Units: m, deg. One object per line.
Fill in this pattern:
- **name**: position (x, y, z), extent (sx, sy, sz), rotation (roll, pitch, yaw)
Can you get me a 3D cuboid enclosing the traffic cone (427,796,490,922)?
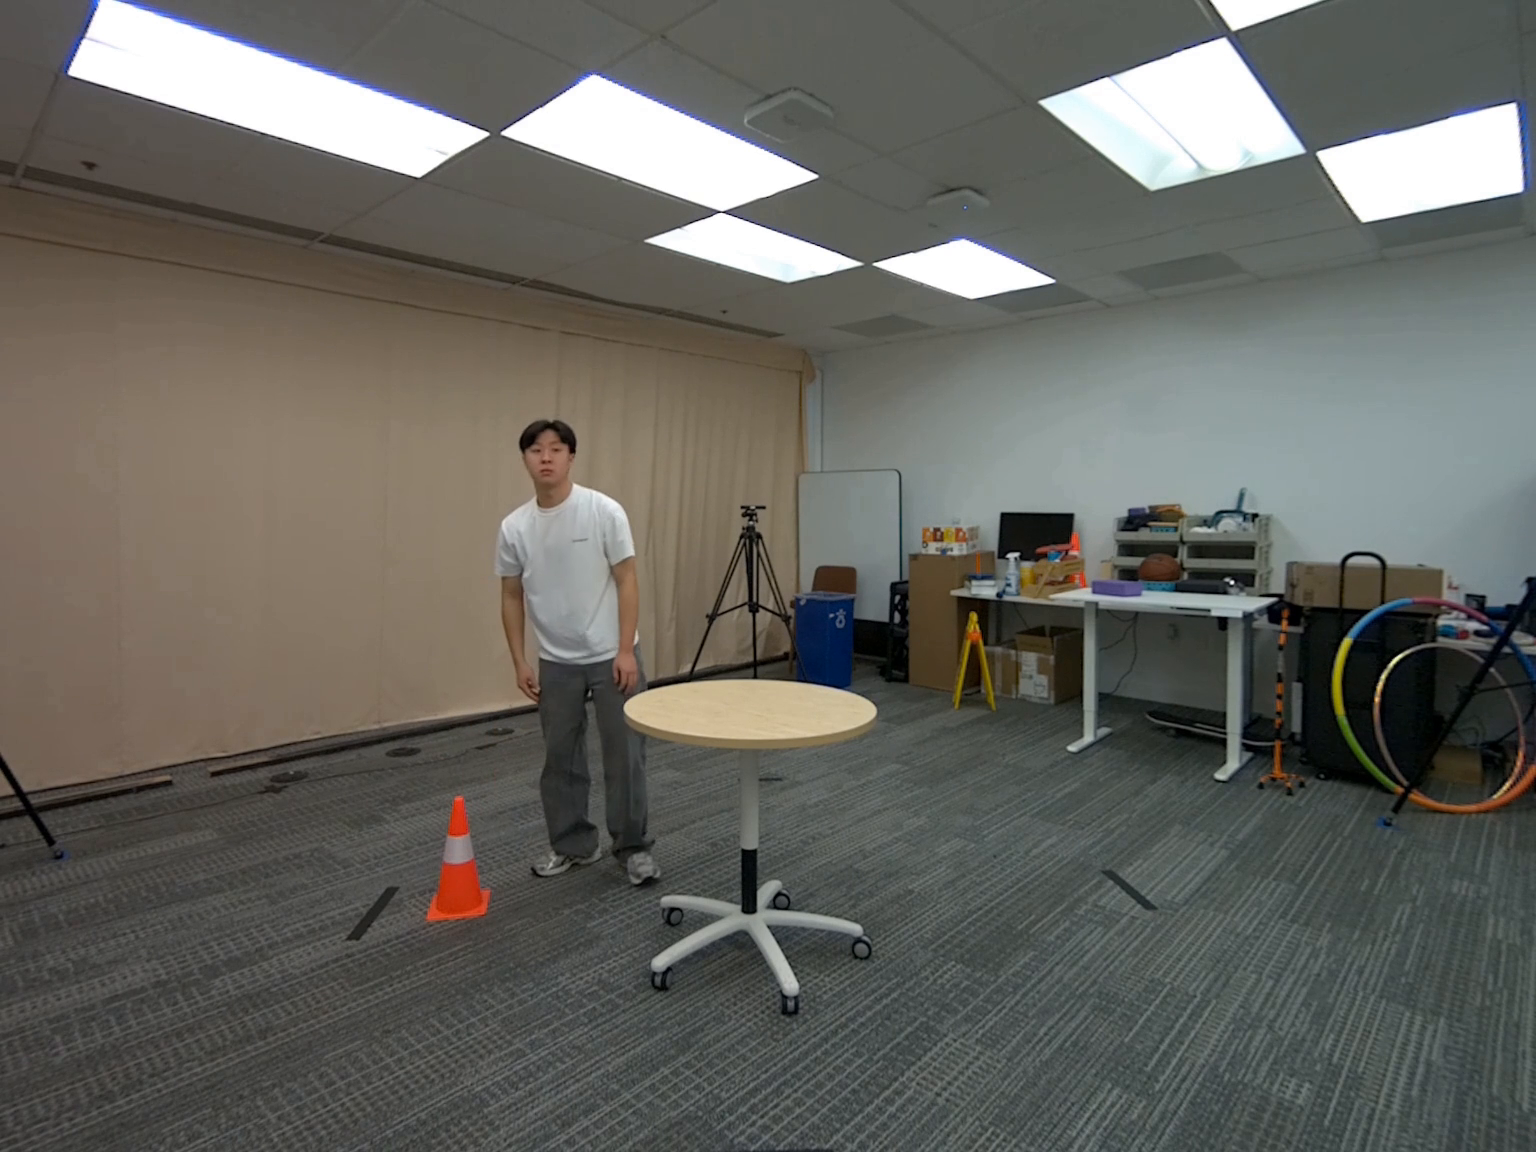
- **traffic cone**: position (-1.088, 0.973, 2.947), extent (0.202, 0.383, 0.206), rotation (-1, 2, -13)
